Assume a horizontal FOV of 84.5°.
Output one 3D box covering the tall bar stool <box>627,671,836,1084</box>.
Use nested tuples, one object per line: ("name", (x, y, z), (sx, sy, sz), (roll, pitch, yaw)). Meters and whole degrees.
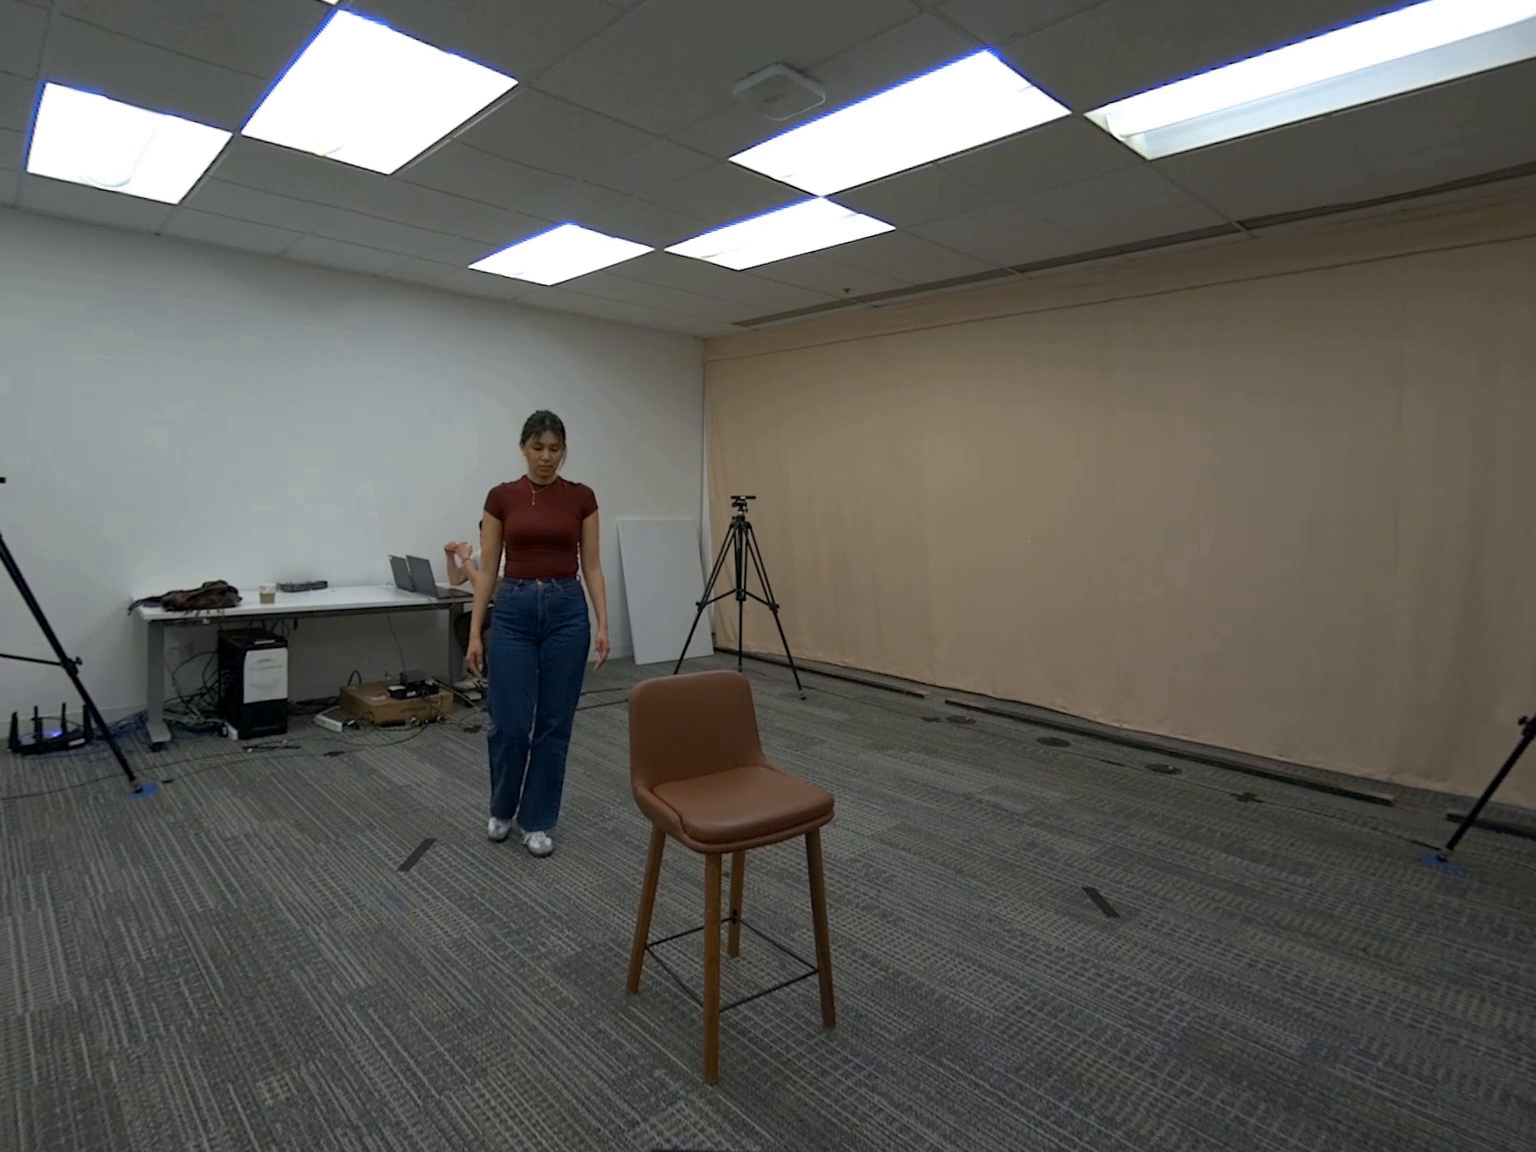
("tall bar stool", (-0.113, 0.748, 2.265), (0.446, 0.888, 0.479), (-1, 3, -36))
